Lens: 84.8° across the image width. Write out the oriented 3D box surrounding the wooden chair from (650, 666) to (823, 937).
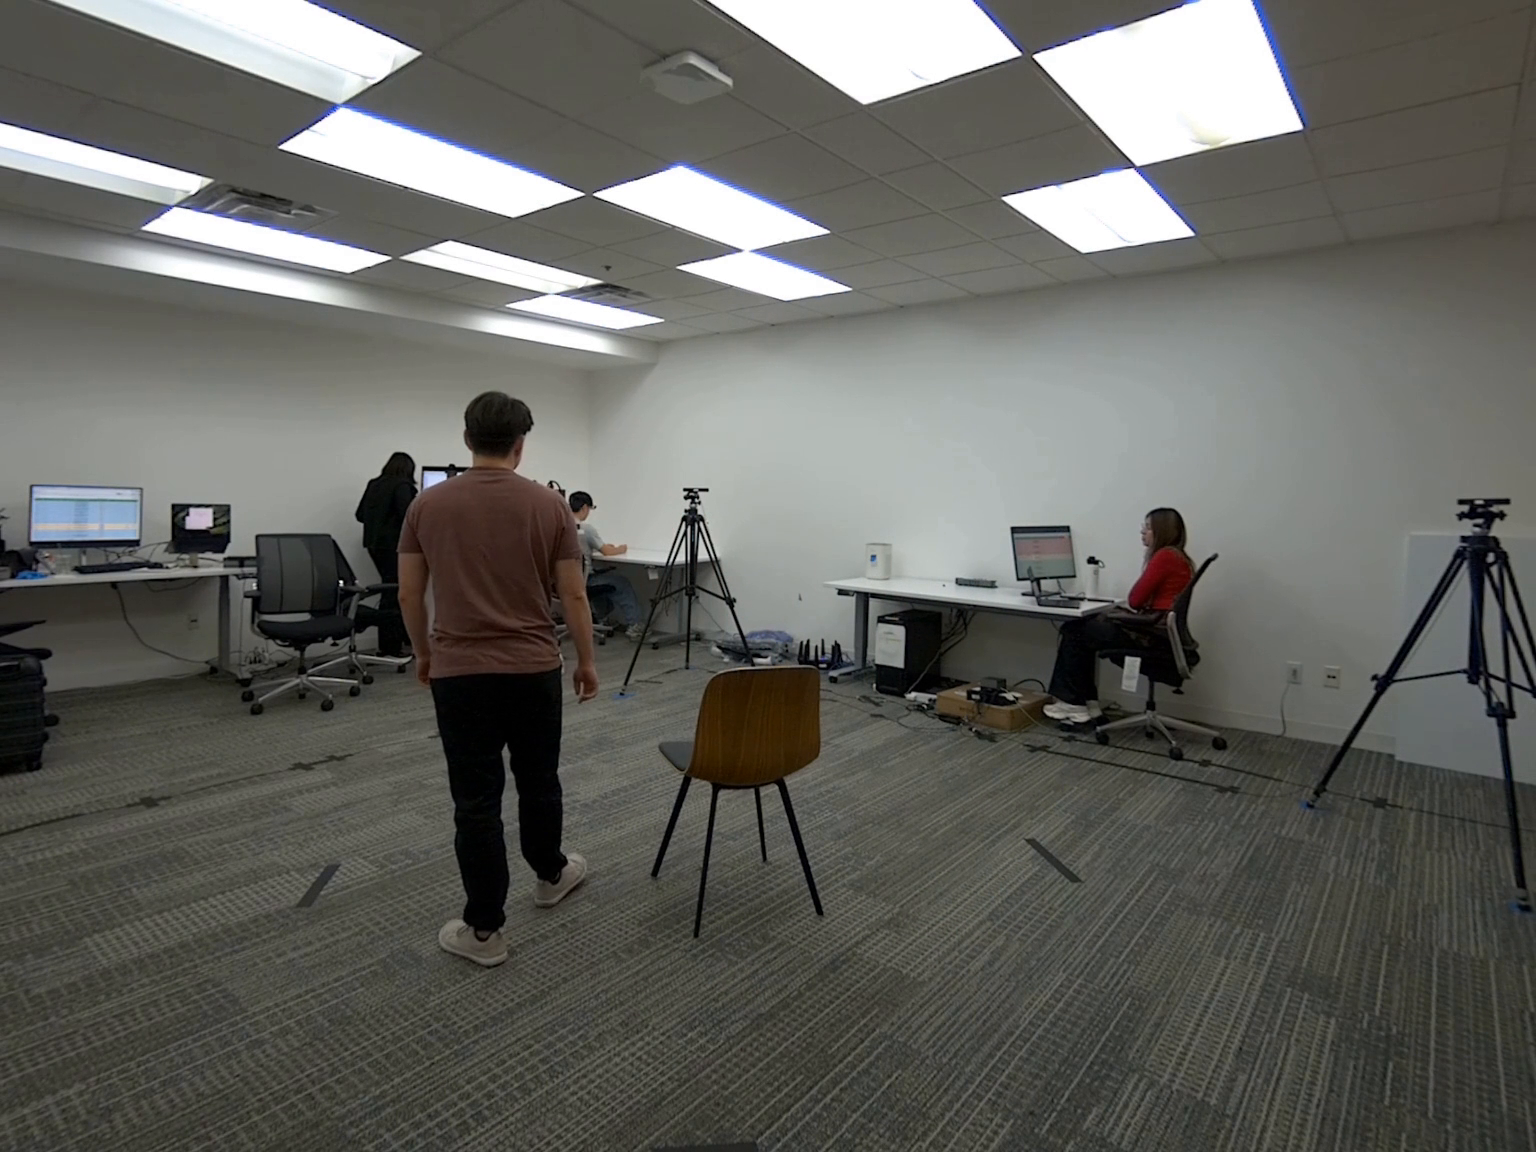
[{"bbox_3d":[-0.119,0.667,2.892,0.468,0.872,0.538,0,7,-23],"label":"wooden chair"}]
